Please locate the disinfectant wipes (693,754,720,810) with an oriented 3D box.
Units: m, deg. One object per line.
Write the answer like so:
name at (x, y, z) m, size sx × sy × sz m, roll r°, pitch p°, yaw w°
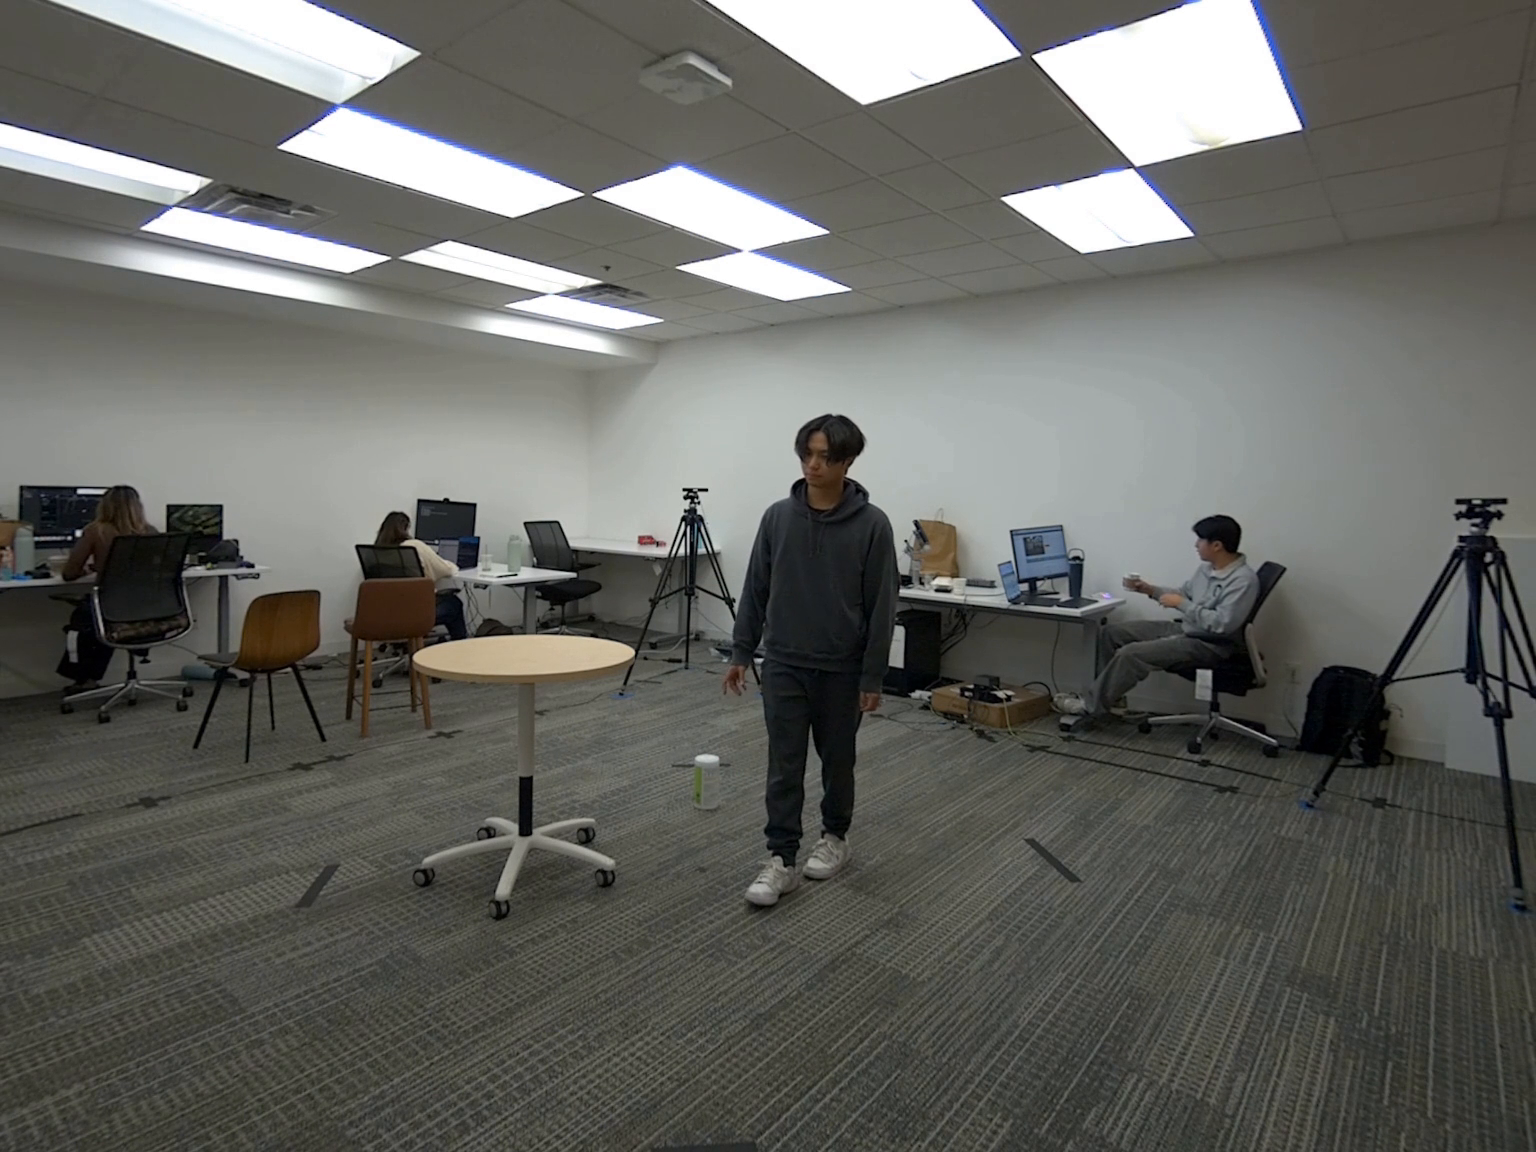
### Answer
disinfectant wipes at (-0.277, 0.898, 3.733) m, size 0.118 × 0.217 × 0.118 m, roll 1°, pitch 3°, yaw -2°
